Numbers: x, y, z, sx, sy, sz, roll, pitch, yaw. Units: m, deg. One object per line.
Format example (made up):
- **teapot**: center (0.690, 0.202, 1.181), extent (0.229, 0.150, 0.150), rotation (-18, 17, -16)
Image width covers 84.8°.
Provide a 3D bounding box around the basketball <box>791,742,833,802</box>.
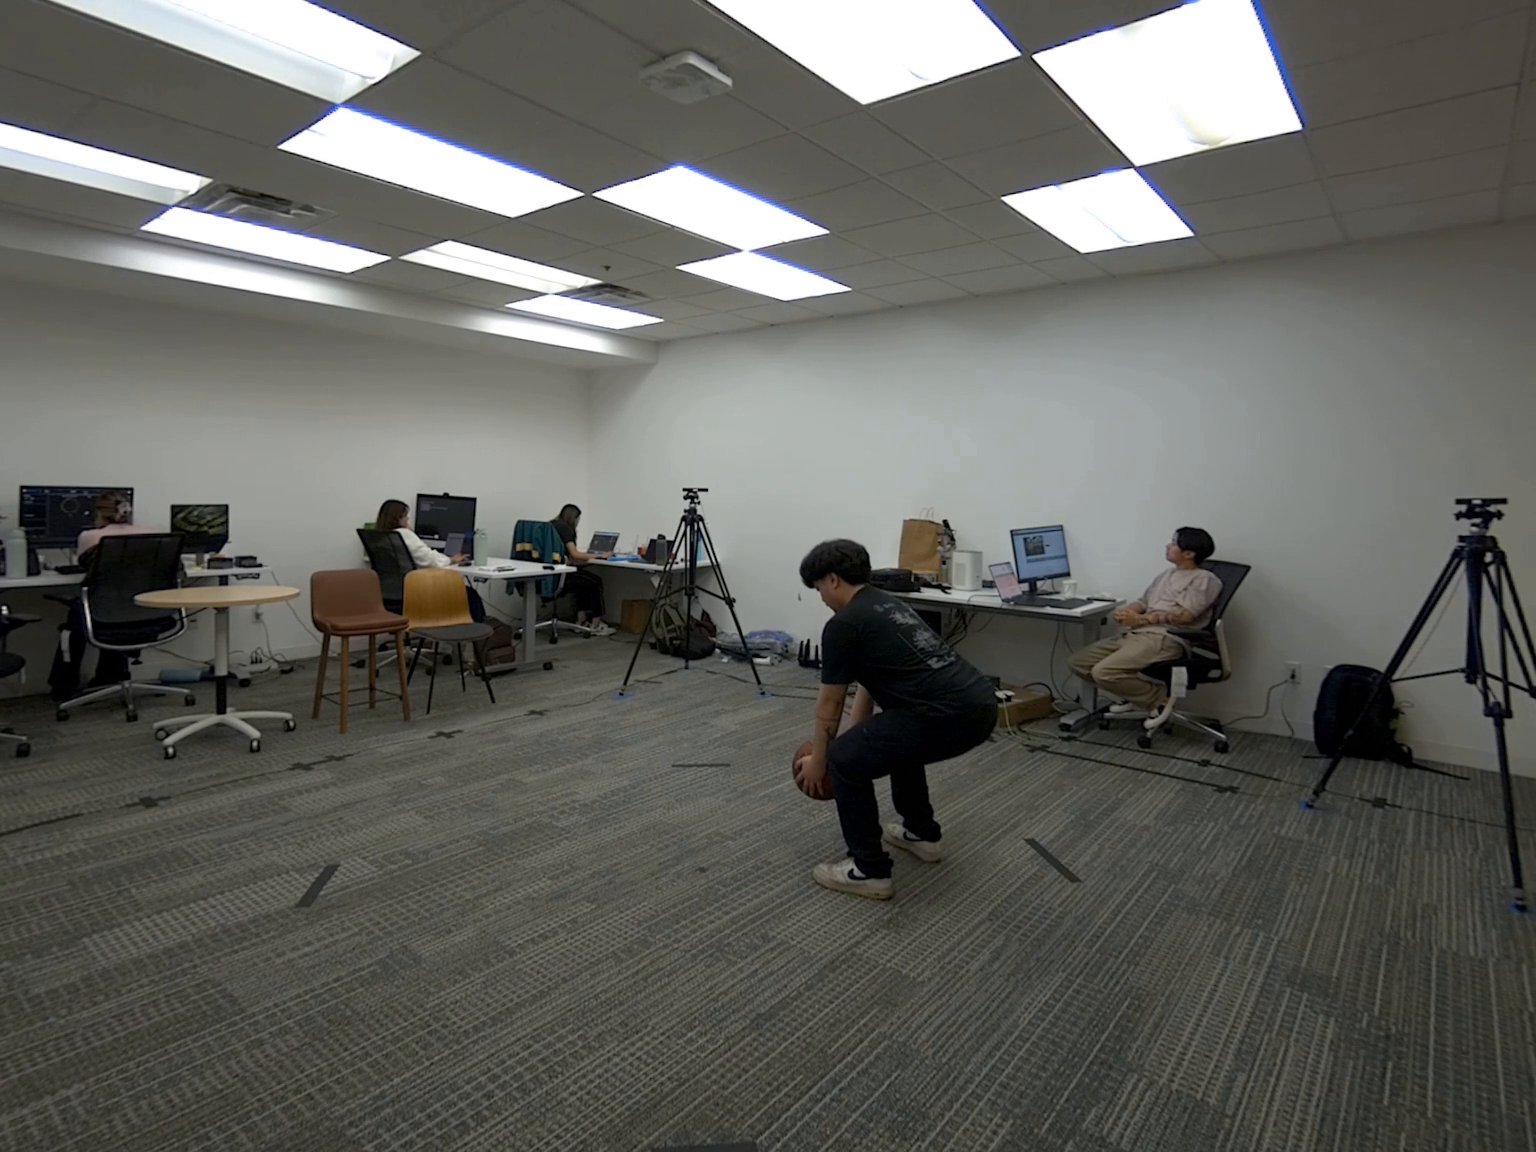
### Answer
- **basketball**: center (0.210, 0.741, 3.333), extent (0.235, 0.235, 0.237), rotation (1, 4, -2)
